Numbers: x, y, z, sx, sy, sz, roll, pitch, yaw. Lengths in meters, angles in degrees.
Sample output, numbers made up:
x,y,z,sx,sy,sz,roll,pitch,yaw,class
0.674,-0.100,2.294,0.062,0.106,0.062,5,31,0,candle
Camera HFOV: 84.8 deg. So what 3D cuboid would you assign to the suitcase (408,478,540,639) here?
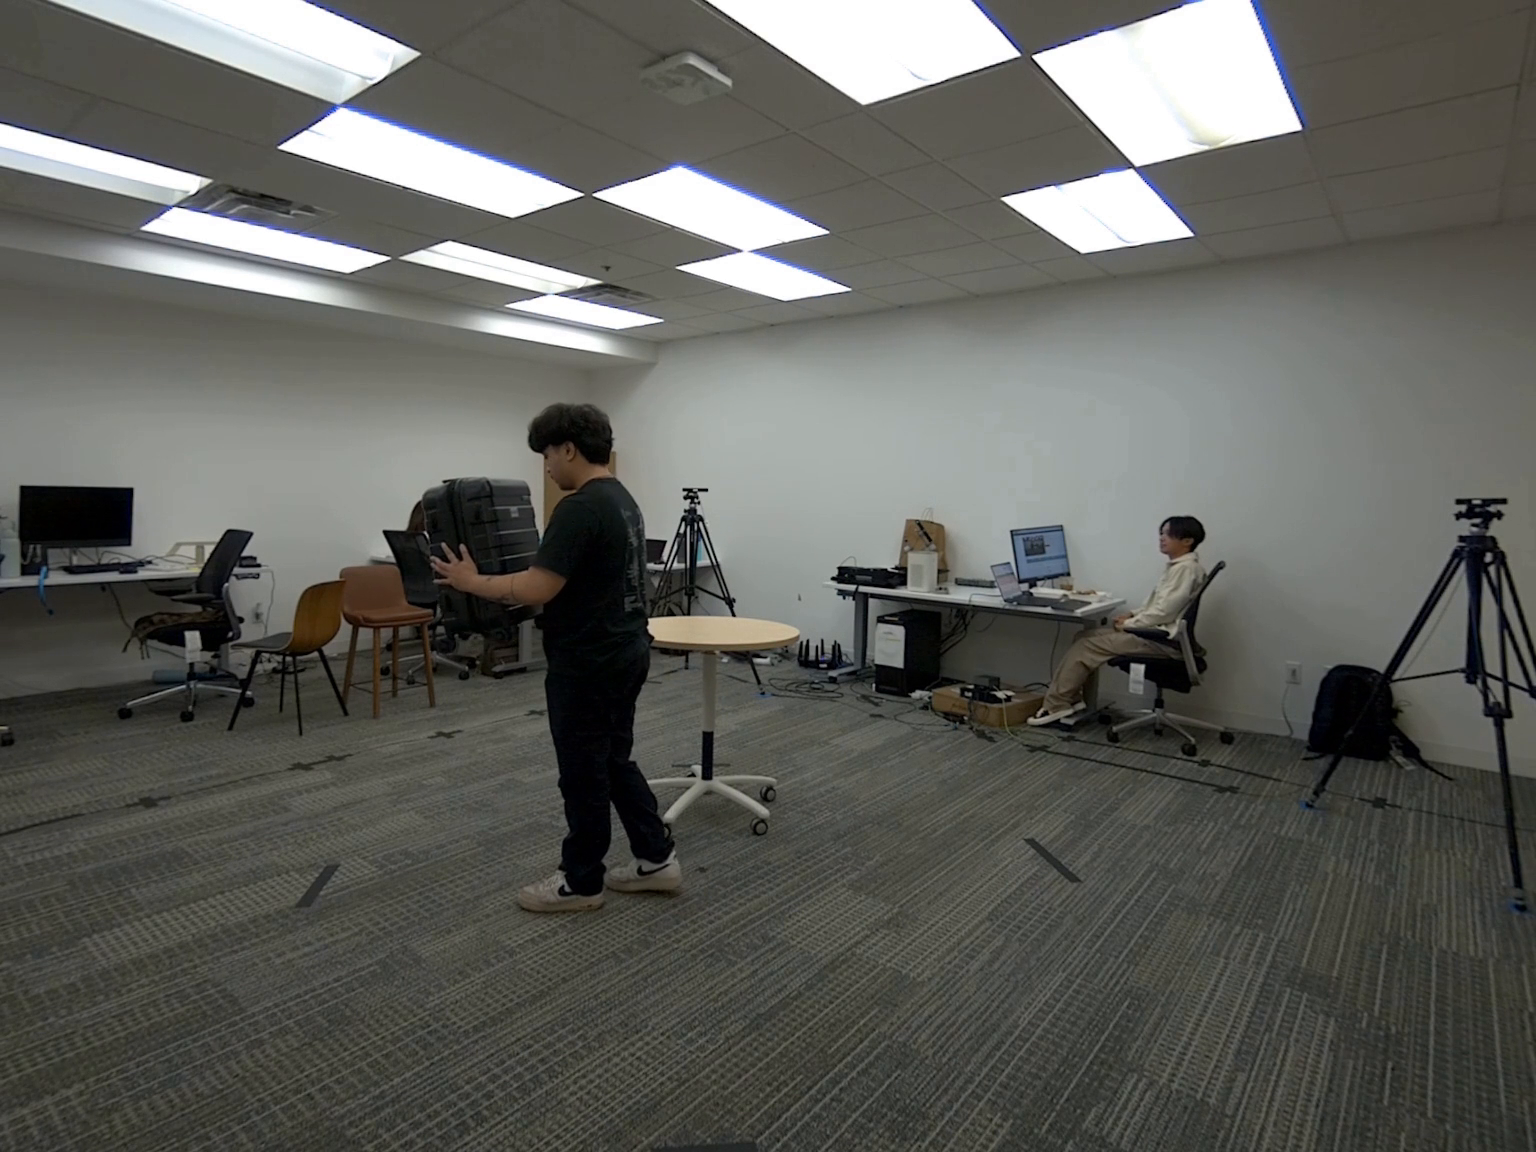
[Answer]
x,y,z,sx,sy,sz,roll,pitch,yaw,class
-0.944,-0.060,2.846,0.251,0.549,0.371,-8,2,12,suitcase
